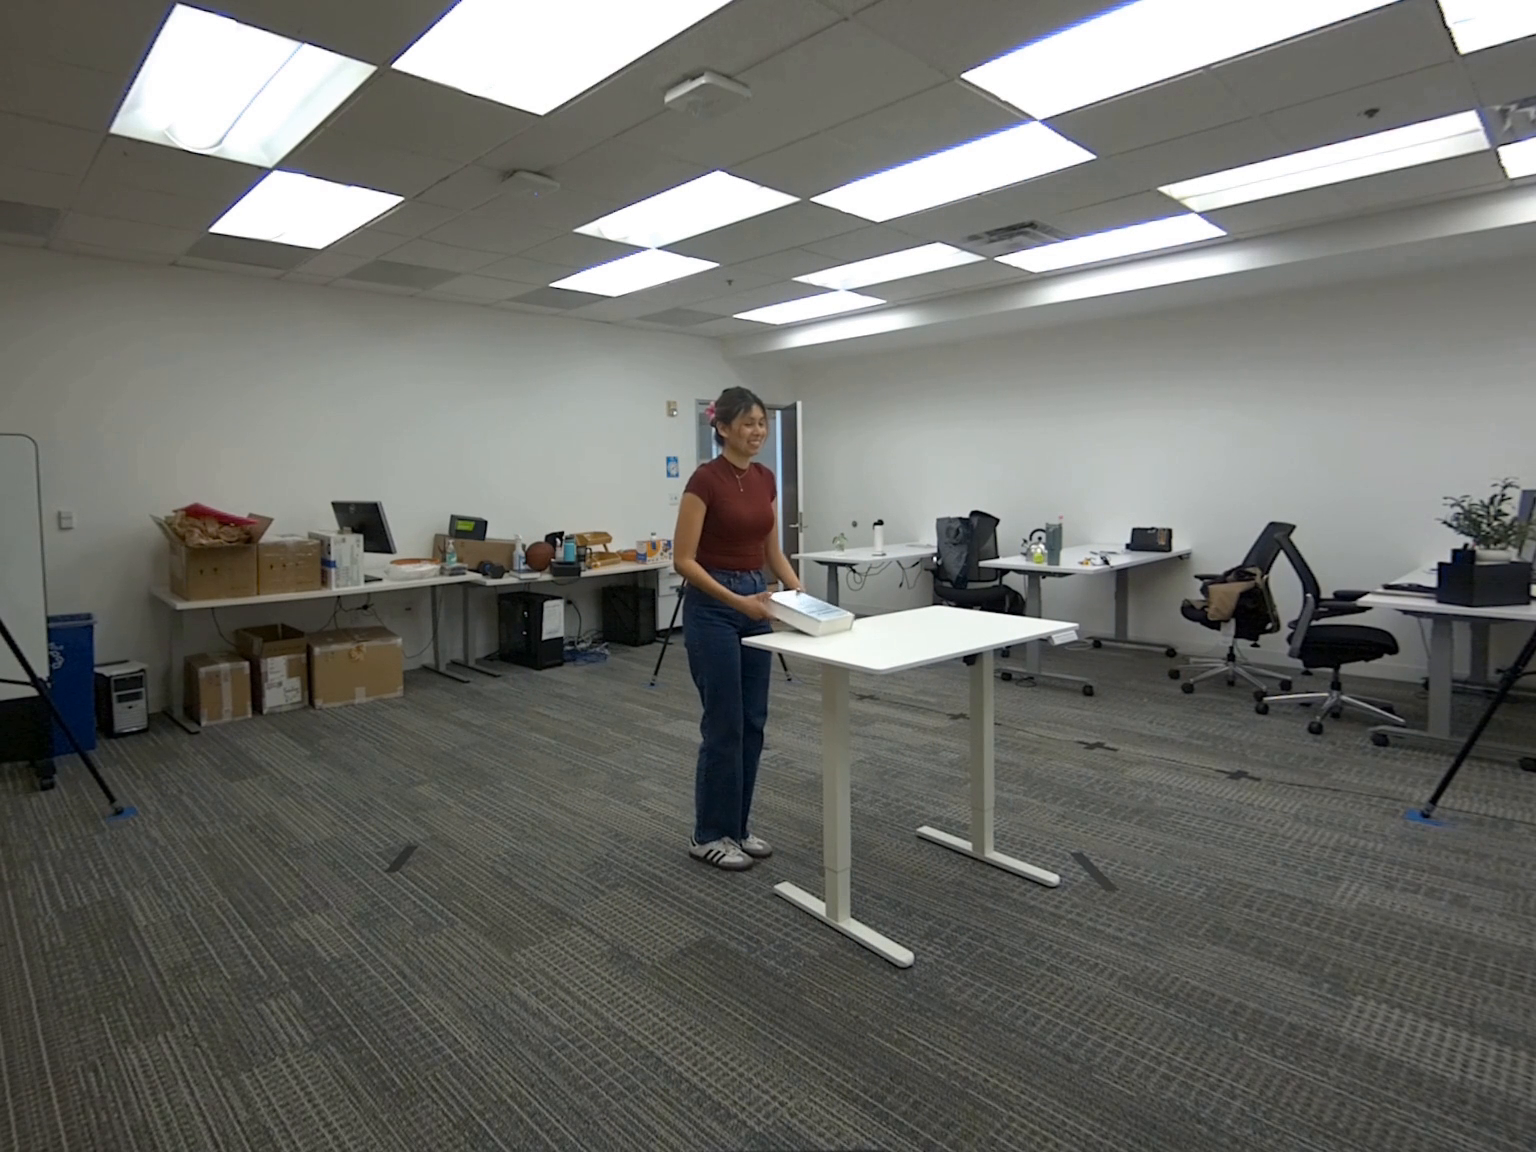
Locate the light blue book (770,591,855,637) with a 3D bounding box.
[{"bbox_3d":[0.142,0.127,2.899,0.270,0.058,0.186,20,18,39],"label":"light blue book"}]
